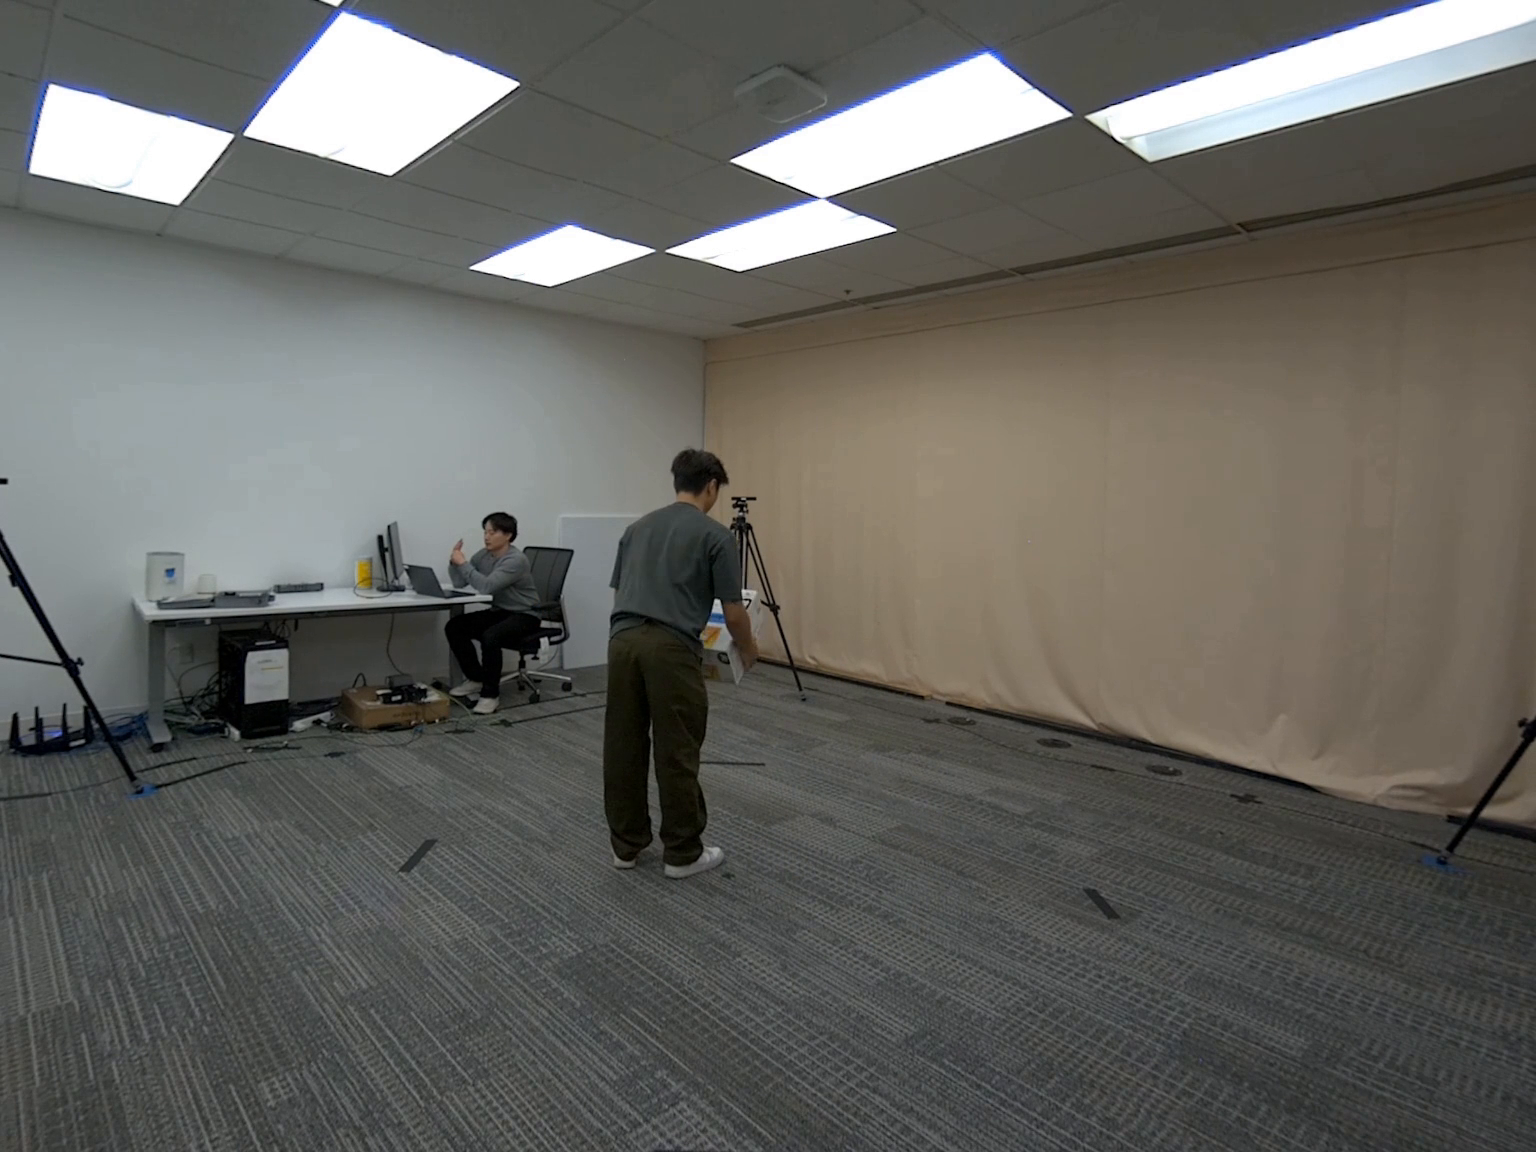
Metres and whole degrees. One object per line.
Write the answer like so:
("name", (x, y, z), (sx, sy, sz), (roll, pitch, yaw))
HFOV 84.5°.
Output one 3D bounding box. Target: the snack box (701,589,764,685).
("snack box", (-0.275, 0.232, 3.443), (0.413, 0.200, 0.343), (7, 44, 24))
